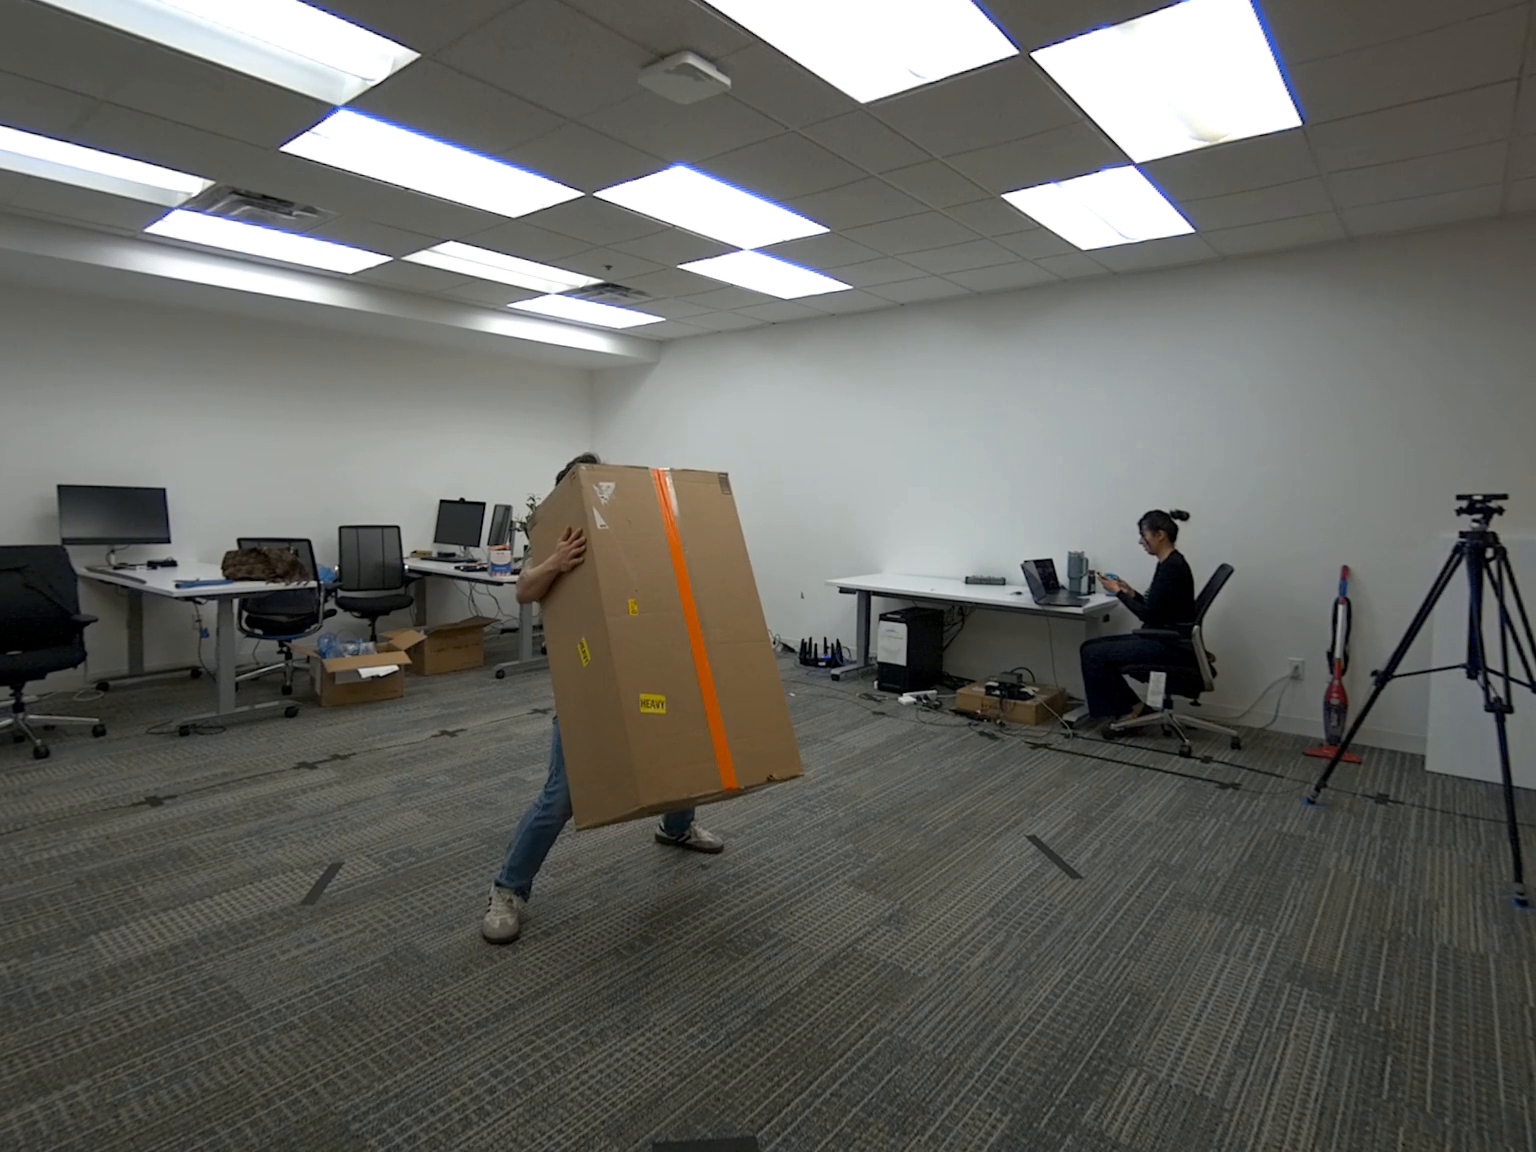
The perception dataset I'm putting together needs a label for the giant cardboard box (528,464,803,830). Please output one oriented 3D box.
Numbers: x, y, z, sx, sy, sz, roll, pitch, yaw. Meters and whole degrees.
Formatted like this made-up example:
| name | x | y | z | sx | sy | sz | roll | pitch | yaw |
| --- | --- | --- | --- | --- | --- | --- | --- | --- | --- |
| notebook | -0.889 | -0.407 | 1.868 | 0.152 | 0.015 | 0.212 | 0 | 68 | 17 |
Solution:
| name | x | y | z | sx | sy | sz | roll | pitch | yaw |
| --- | --- | --- | --- | --- | --- | --- | --- | --- | --- |
| giant cardboard box | -0.355 | 0.200 | 2.713 | 0.560 | 1.049 | 0.430 | -1 | -23 | -37 |
